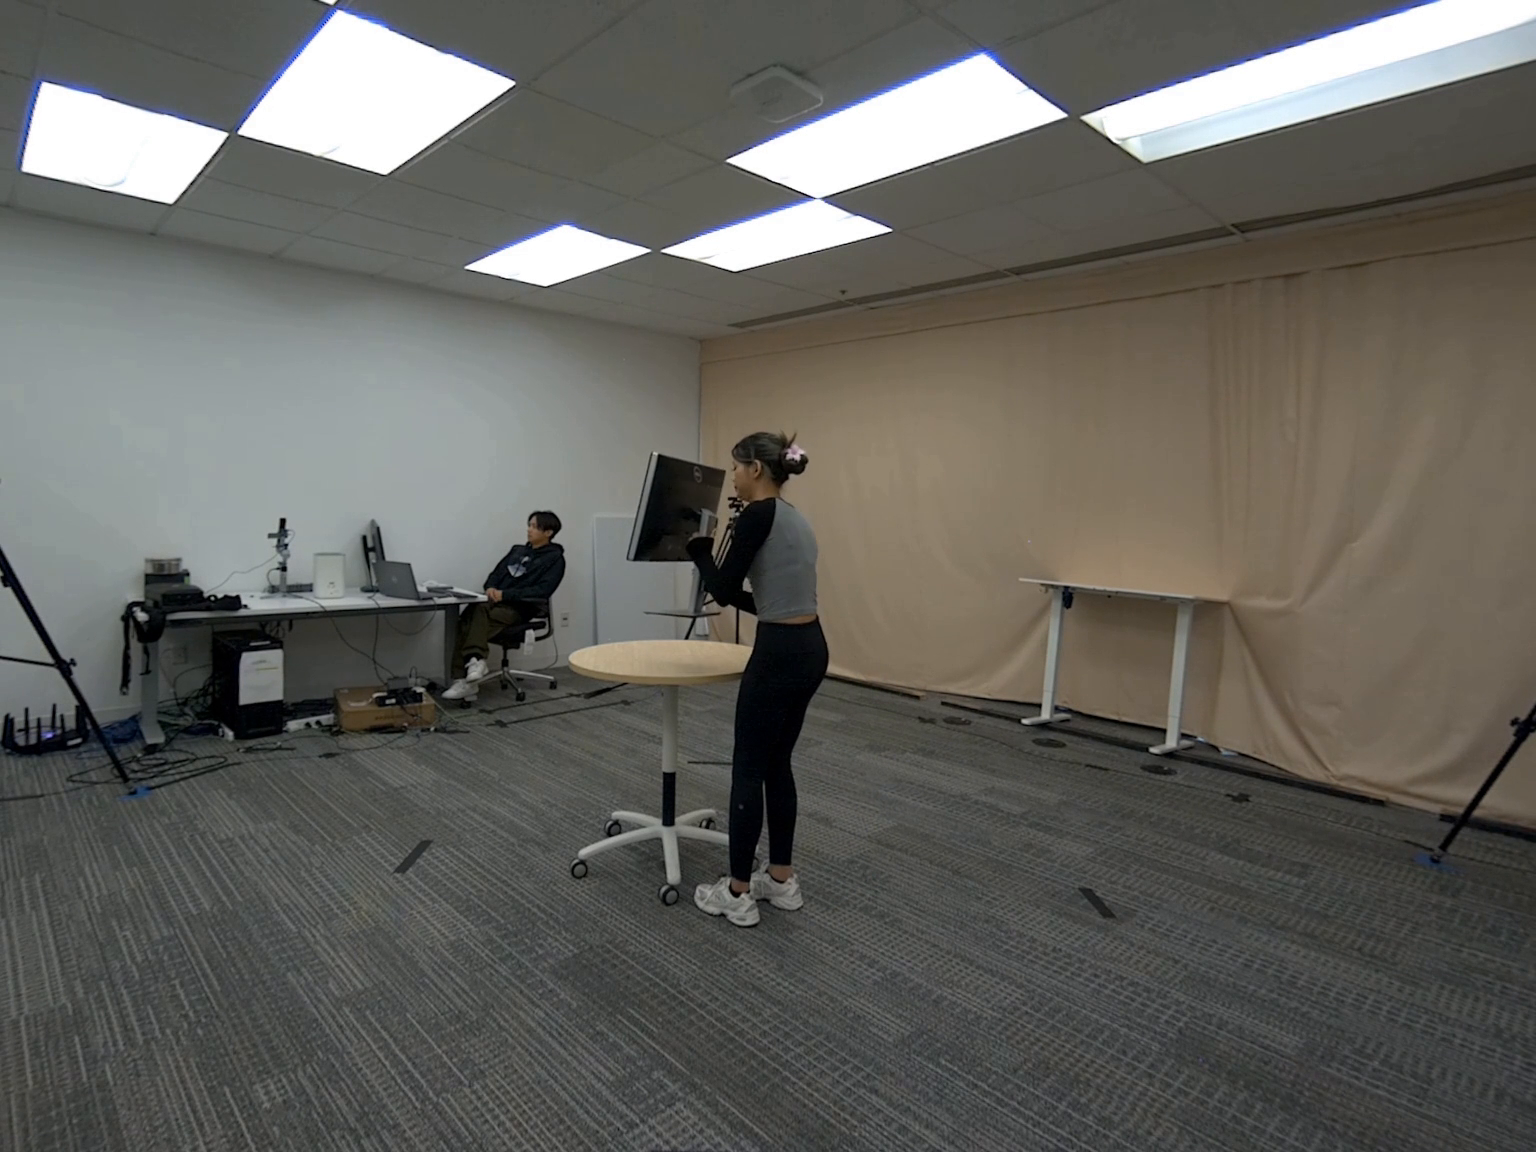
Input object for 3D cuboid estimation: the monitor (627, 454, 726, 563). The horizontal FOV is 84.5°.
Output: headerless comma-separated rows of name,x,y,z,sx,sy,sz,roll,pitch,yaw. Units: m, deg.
monitor,-0.285,-0.128,2.962,0.190,0.522,0.530,2,1,20
